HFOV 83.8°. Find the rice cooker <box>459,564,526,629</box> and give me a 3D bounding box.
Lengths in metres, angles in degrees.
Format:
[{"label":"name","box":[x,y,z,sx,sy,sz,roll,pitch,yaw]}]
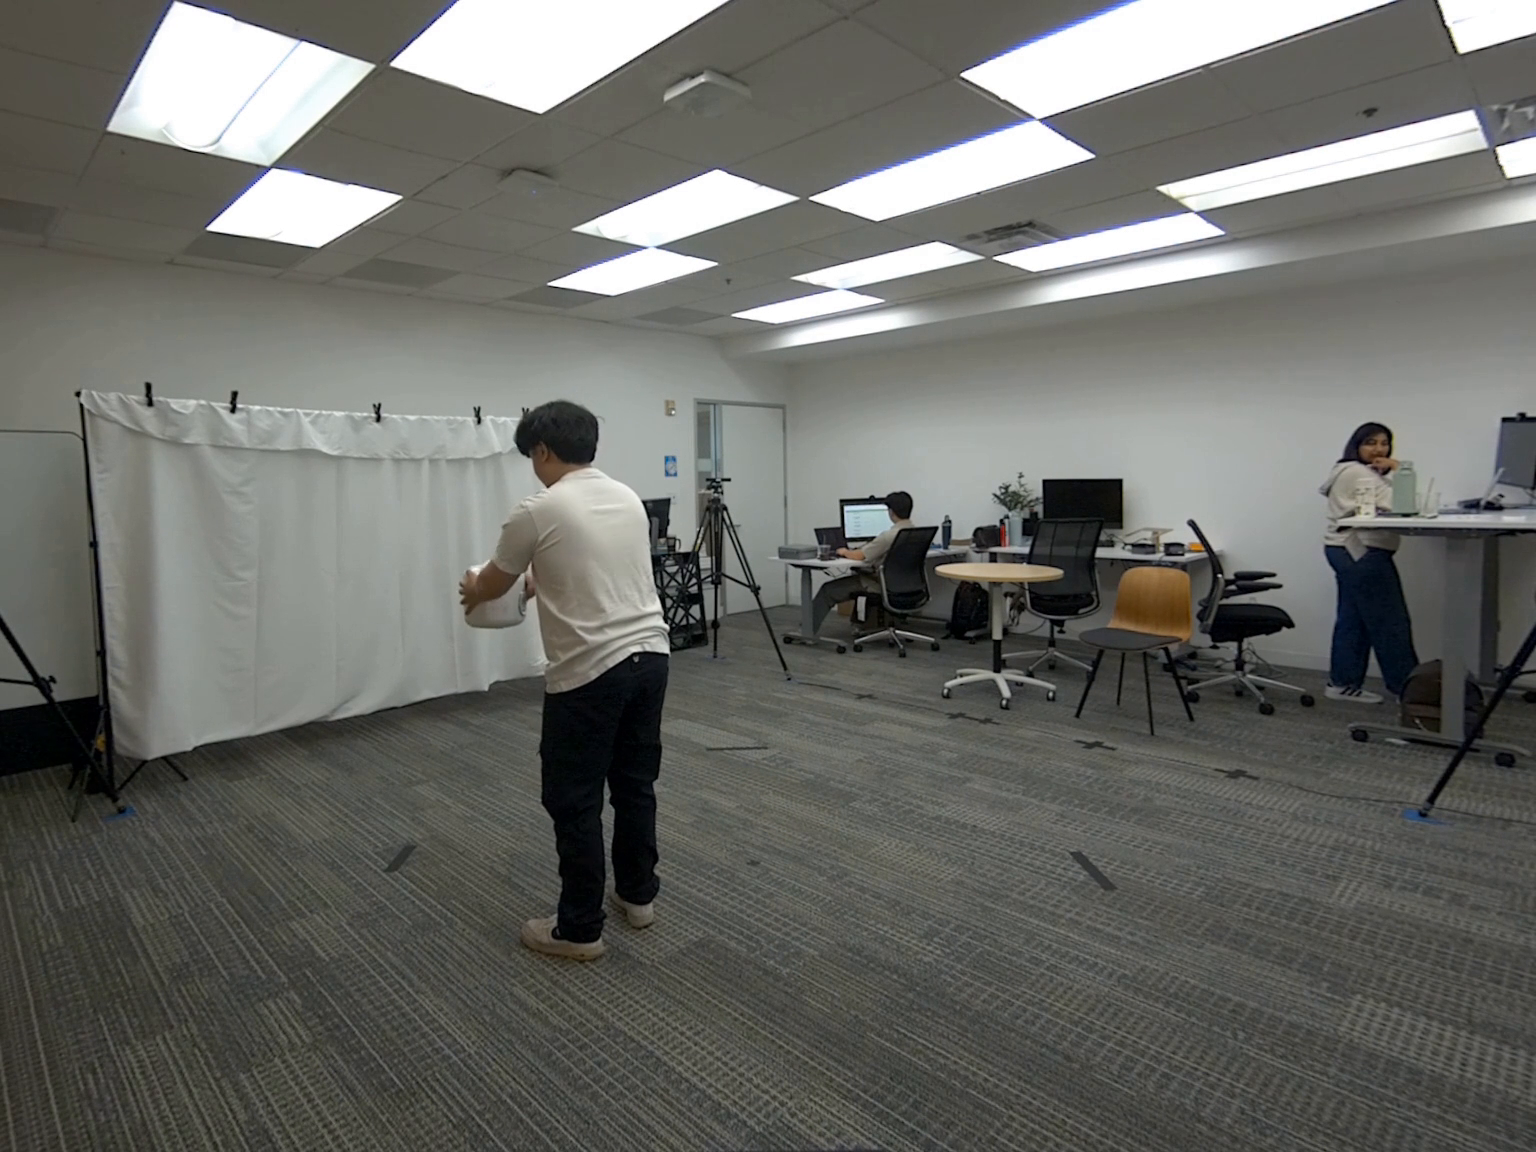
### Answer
[{"label":"rice cooker","box":[-0.941,0.056,2.967,0.220,0.232,0.219,0,6,11]}]
